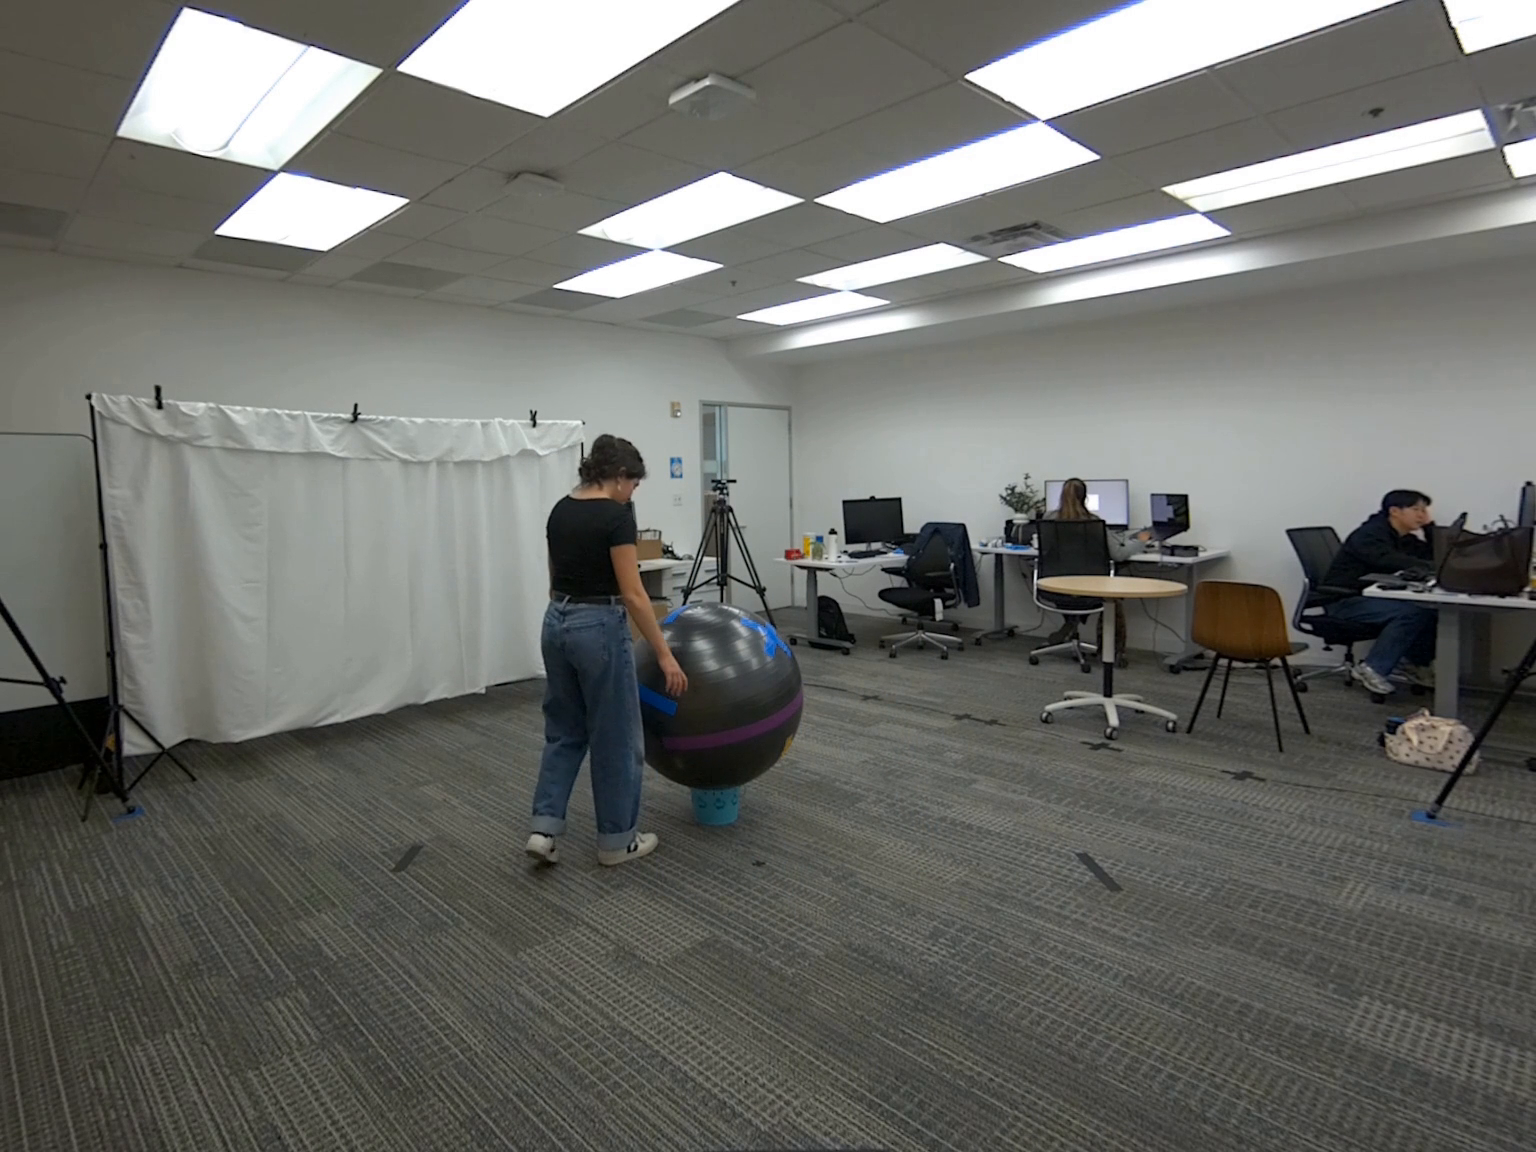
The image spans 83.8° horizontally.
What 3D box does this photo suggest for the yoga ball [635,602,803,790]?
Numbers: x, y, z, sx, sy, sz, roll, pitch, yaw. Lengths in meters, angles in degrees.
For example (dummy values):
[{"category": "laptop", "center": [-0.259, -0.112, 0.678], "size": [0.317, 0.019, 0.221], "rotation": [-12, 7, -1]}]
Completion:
[{"category": "yoga ball", "center": [-0.236, 0.492, 3.529], "size": [0.757, 0.755, 0.762], "rotation": [-1, 5, -2]}]
